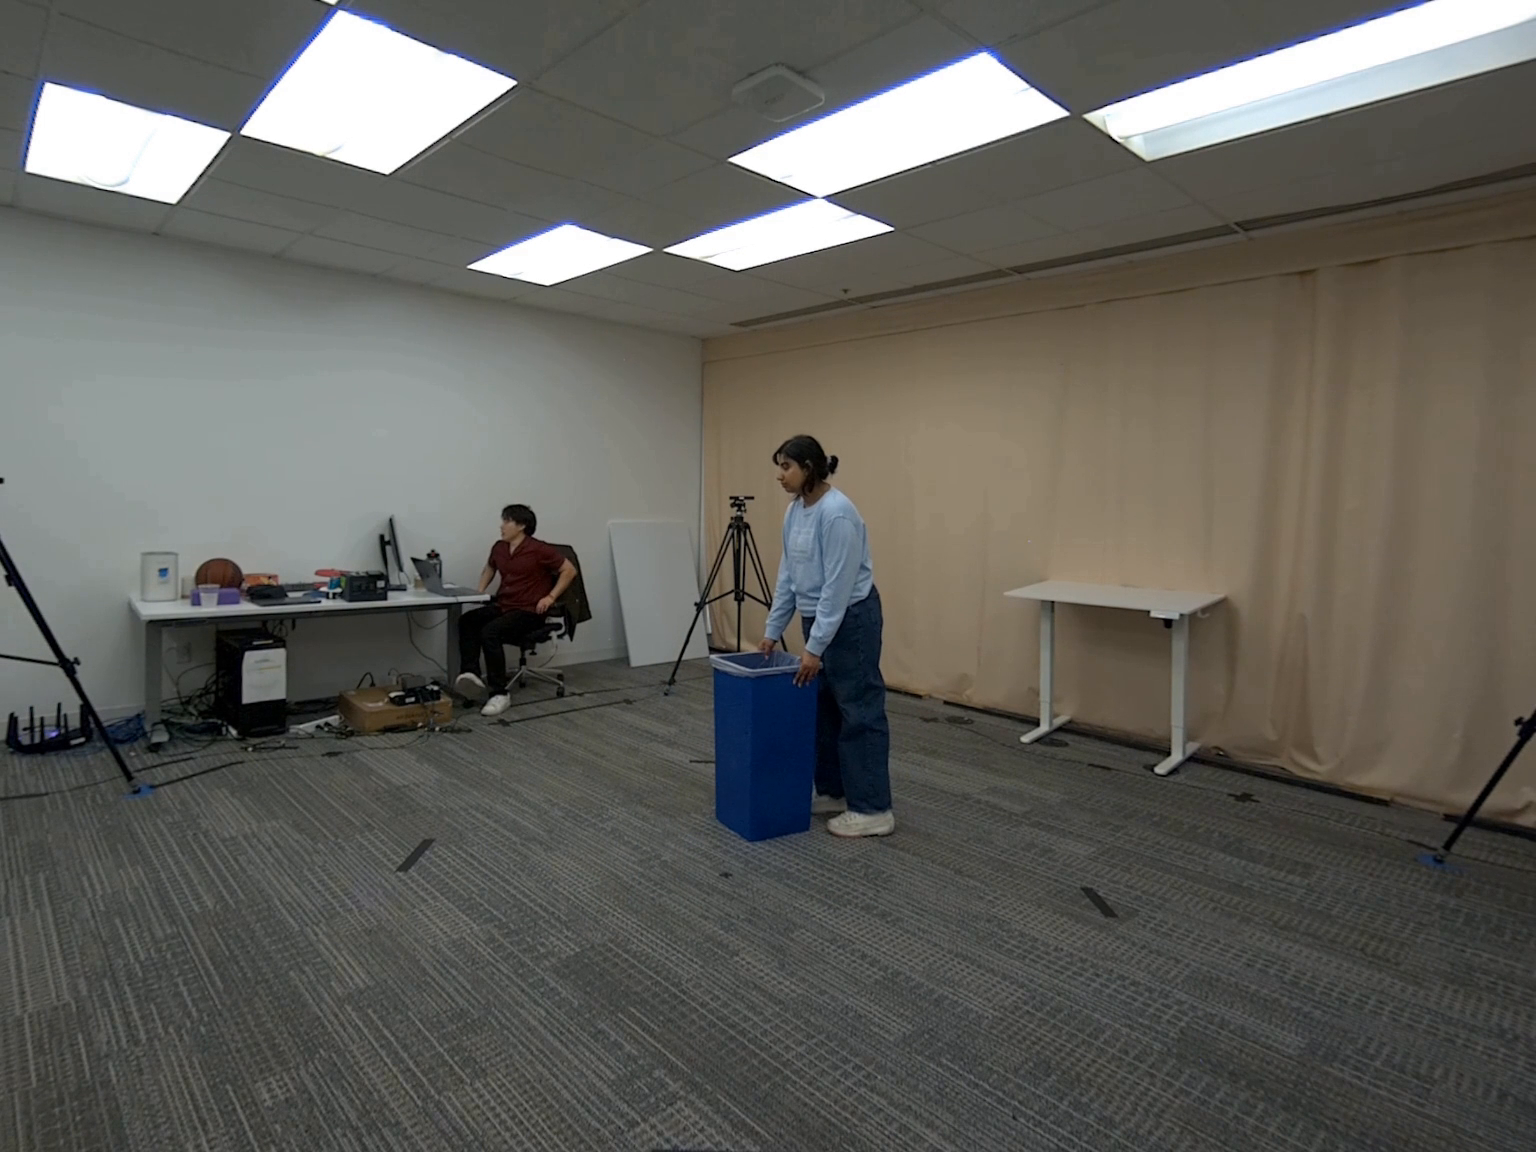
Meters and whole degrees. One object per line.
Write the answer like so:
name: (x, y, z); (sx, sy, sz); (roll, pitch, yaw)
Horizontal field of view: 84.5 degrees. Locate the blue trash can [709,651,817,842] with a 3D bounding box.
blue trash can: (-0.031, 0.709, 3.584); (0.366, 0.712, 0.387); (0, 3, -32)
